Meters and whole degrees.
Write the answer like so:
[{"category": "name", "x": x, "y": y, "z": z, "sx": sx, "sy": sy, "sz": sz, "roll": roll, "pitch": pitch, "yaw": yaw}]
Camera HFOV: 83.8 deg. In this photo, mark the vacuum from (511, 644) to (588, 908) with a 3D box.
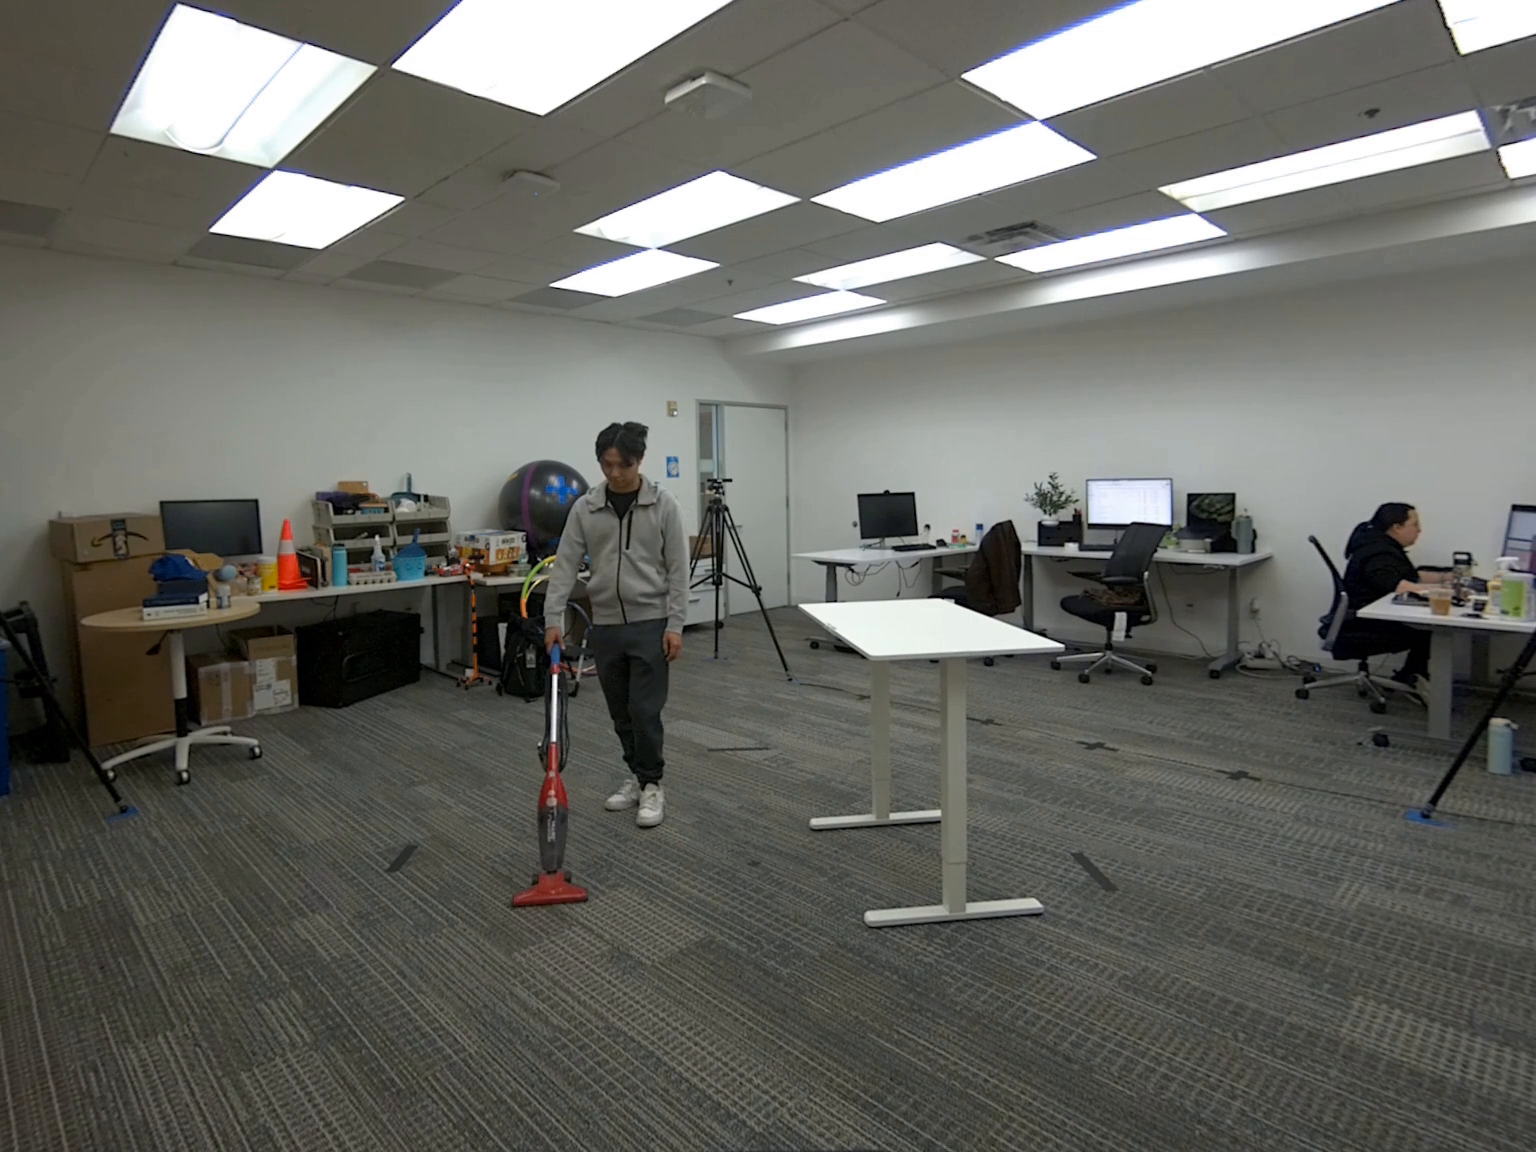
[{"category": "vacuum", "x": -0.808, "y": 0.658, "z": 3.240, "sx": 0.251, "sy": 1.082, "sz": 0.141, "roll": -4, "pitch": -38, "yaw": -9}]
